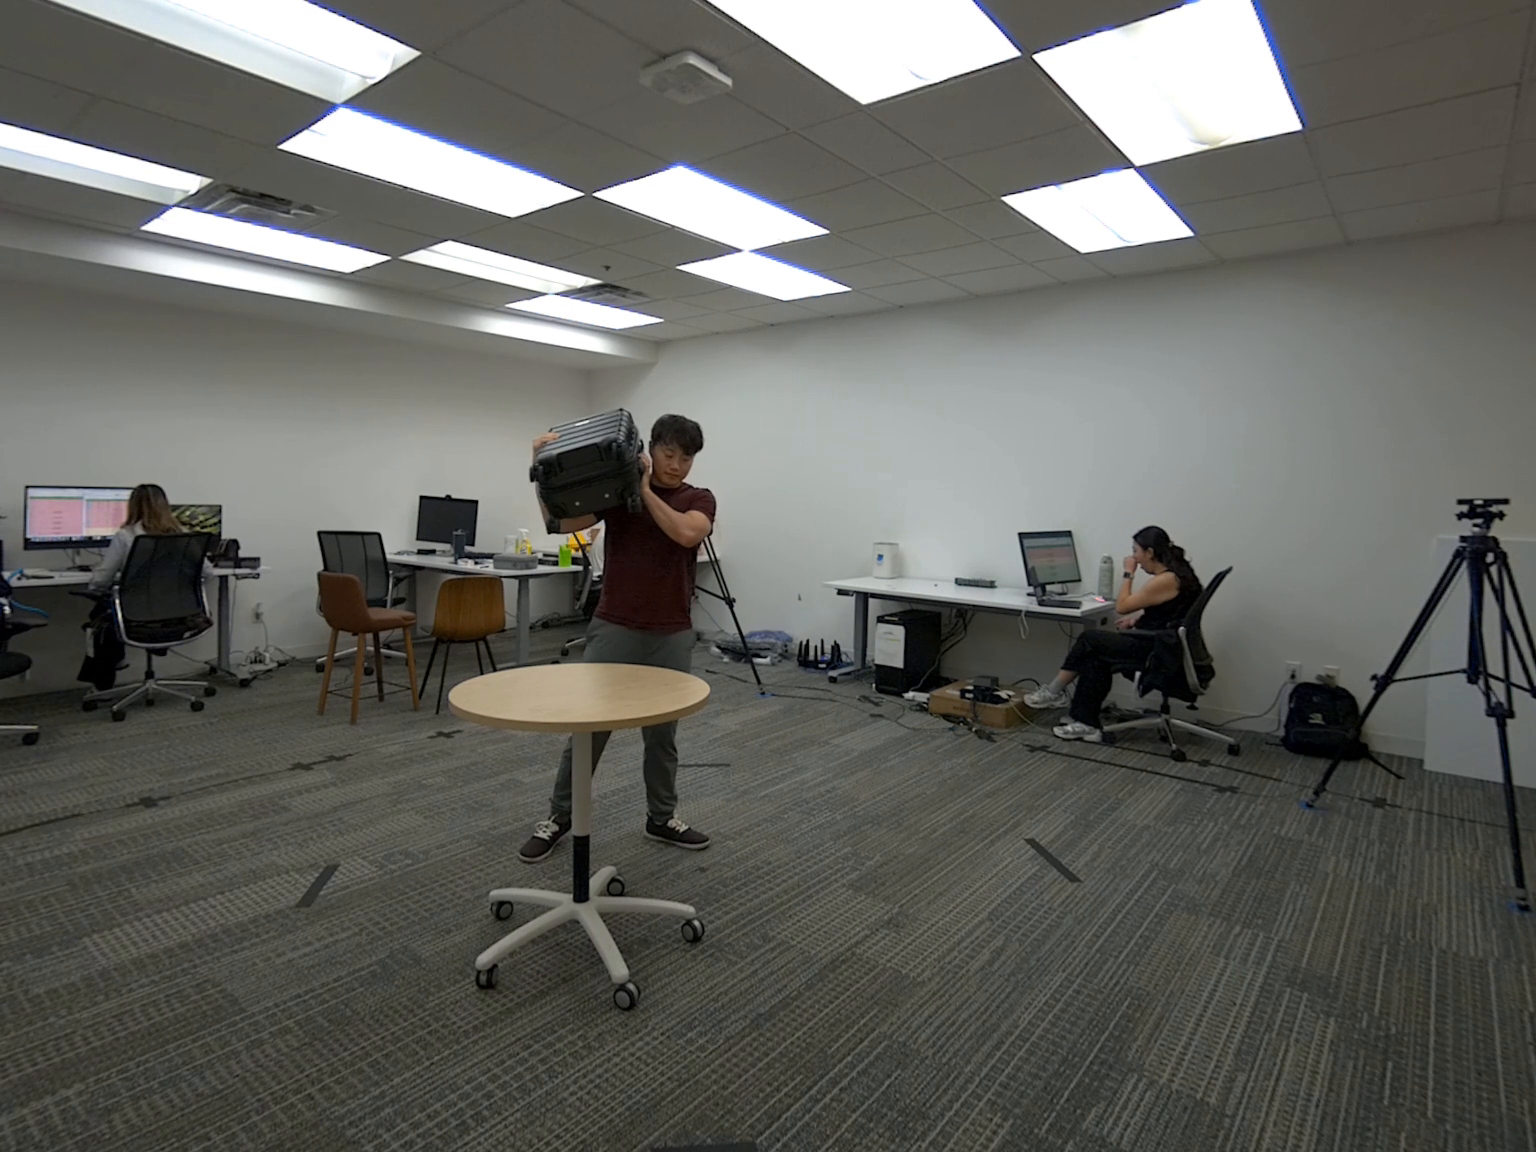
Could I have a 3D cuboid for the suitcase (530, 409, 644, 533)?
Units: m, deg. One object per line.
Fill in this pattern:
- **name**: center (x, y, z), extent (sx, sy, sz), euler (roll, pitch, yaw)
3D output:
- **suitcase**: center (-0.693, -0.510, 3.320), extent (0.384, 0.250, 1.005), euler (-17, 26, 1)
